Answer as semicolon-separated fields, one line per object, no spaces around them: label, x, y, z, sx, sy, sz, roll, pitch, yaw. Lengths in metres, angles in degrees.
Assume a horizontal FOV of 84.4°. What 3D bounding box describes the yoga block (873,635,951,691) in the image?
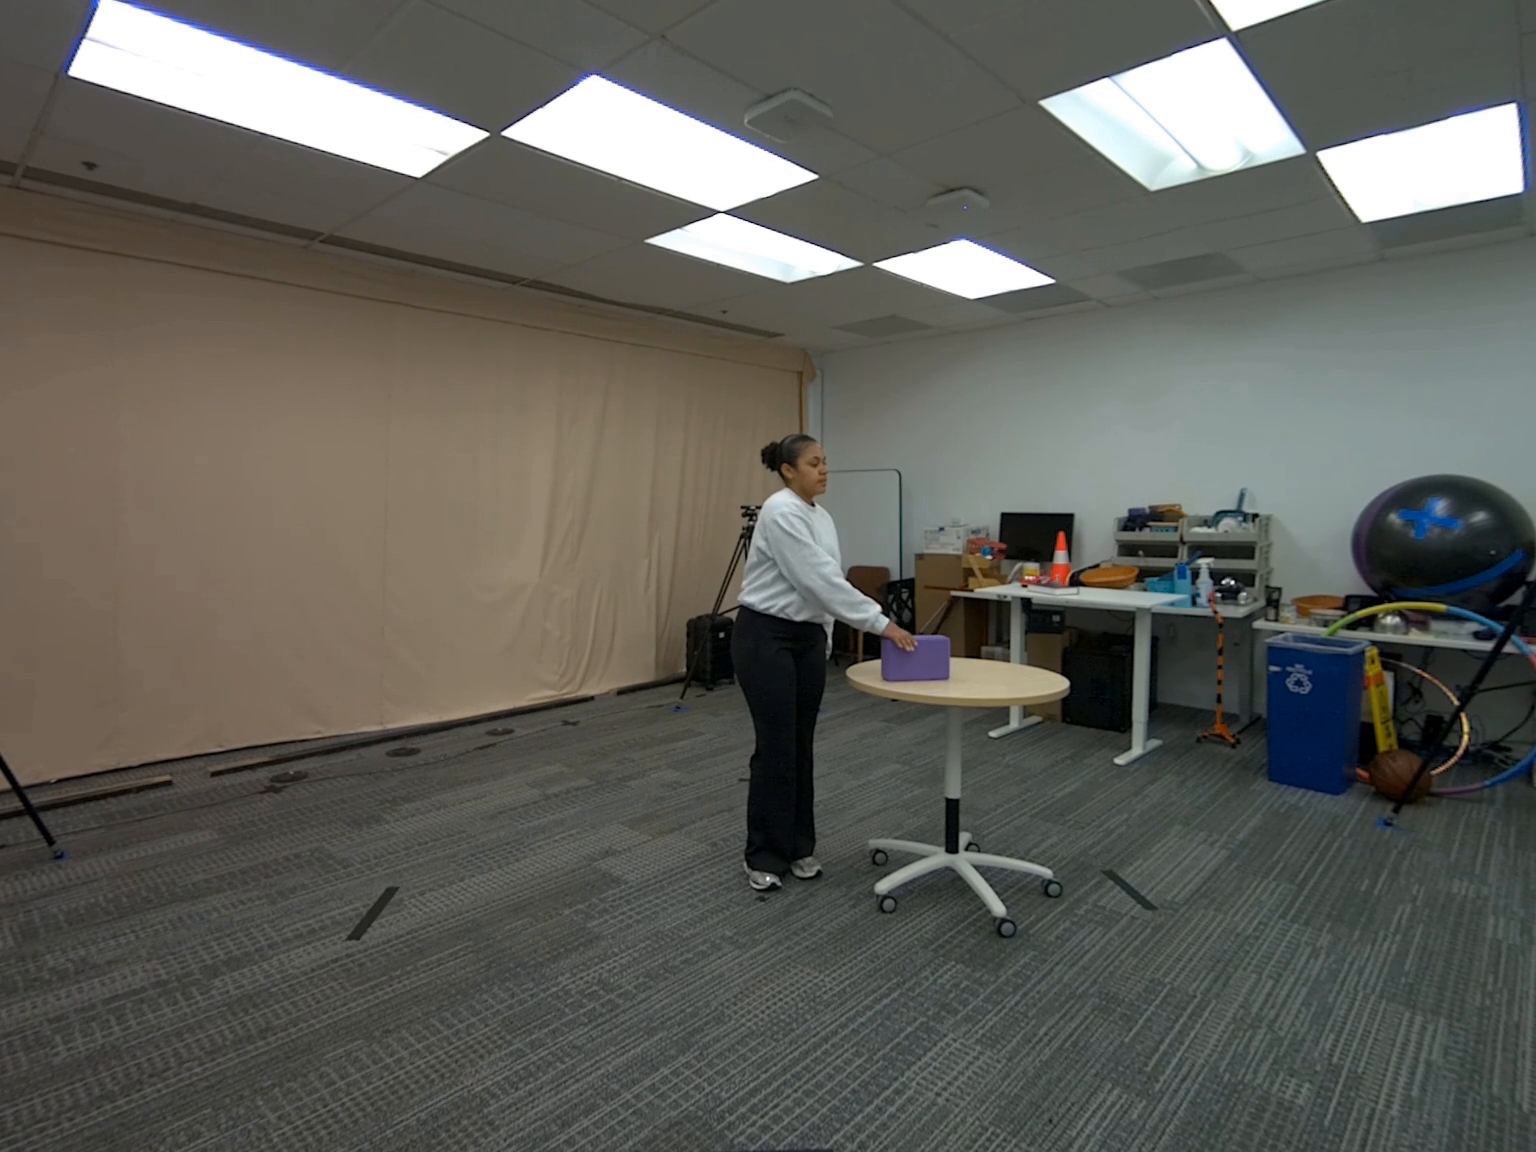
yoga block;0.518;0.282;2.938;0.227;0.148;0.077;-2;4;-7
